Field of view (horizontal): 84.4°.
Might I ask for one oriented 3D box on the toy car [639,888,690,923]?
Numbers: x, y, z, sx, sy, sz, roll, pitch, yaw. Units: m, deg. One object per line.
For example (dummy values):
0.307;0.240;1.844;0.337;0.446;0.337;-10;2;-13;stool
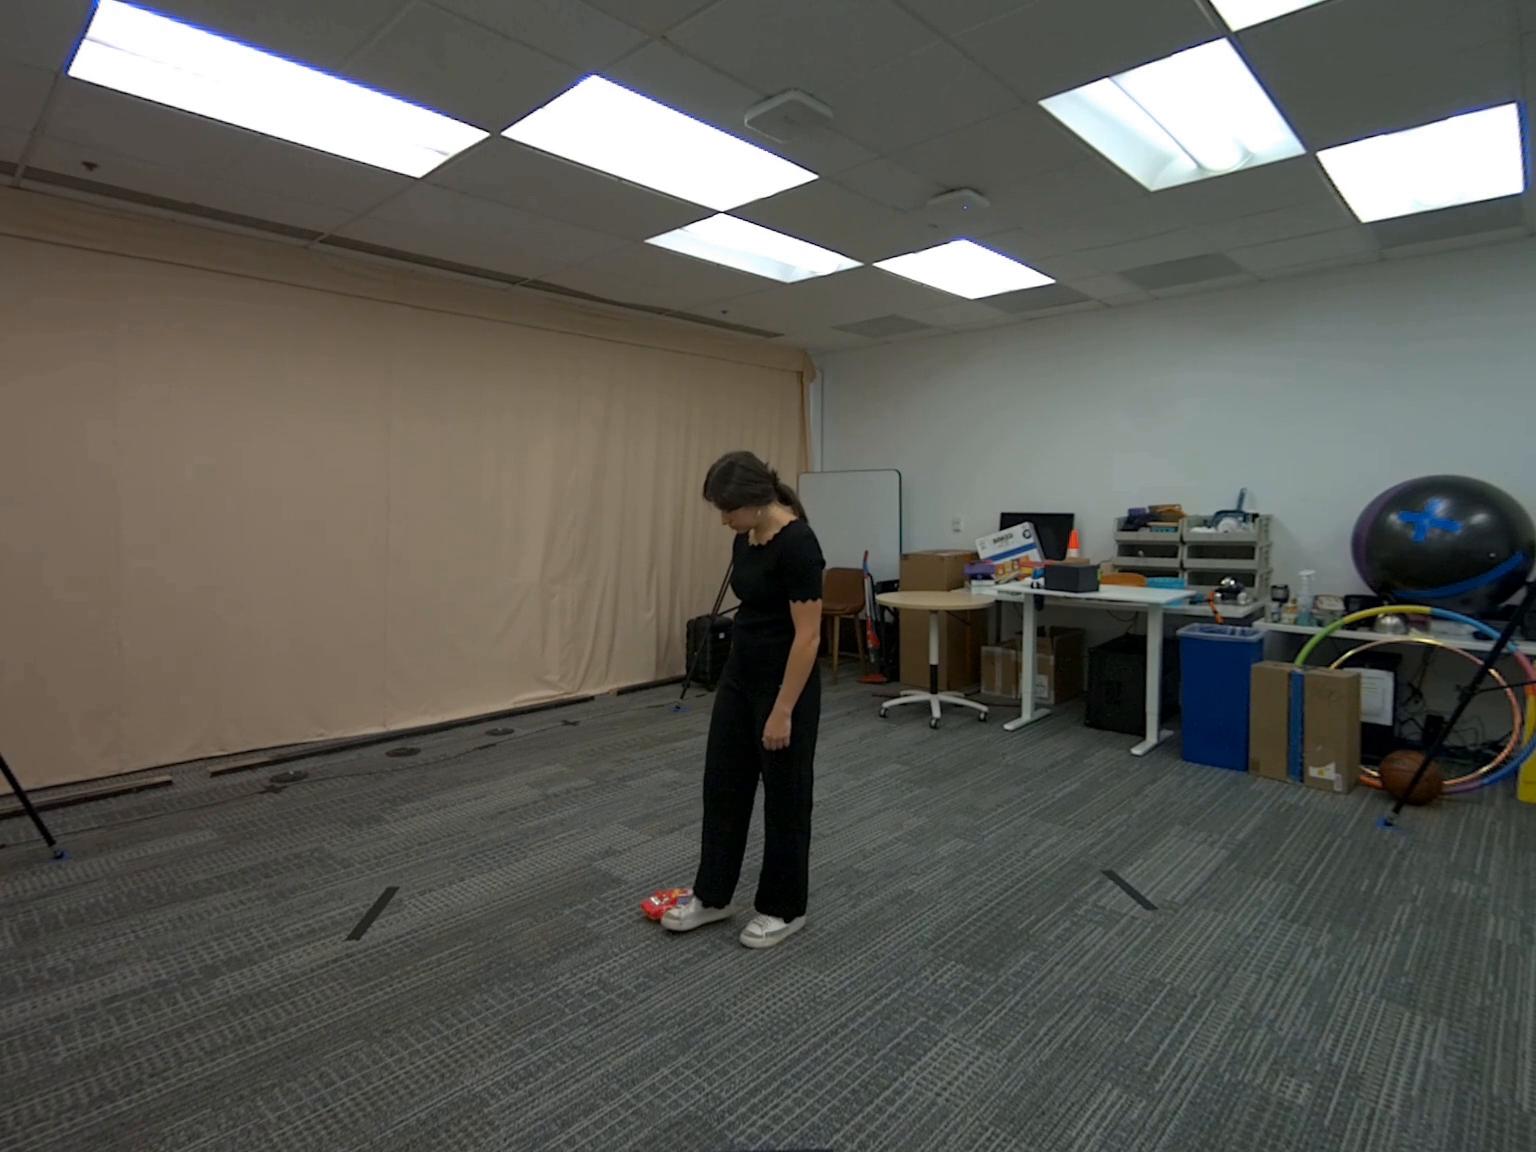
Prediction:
-0.316;1.122;2.879;0.247;0.083;0.134;10;-2;-30;toy car
